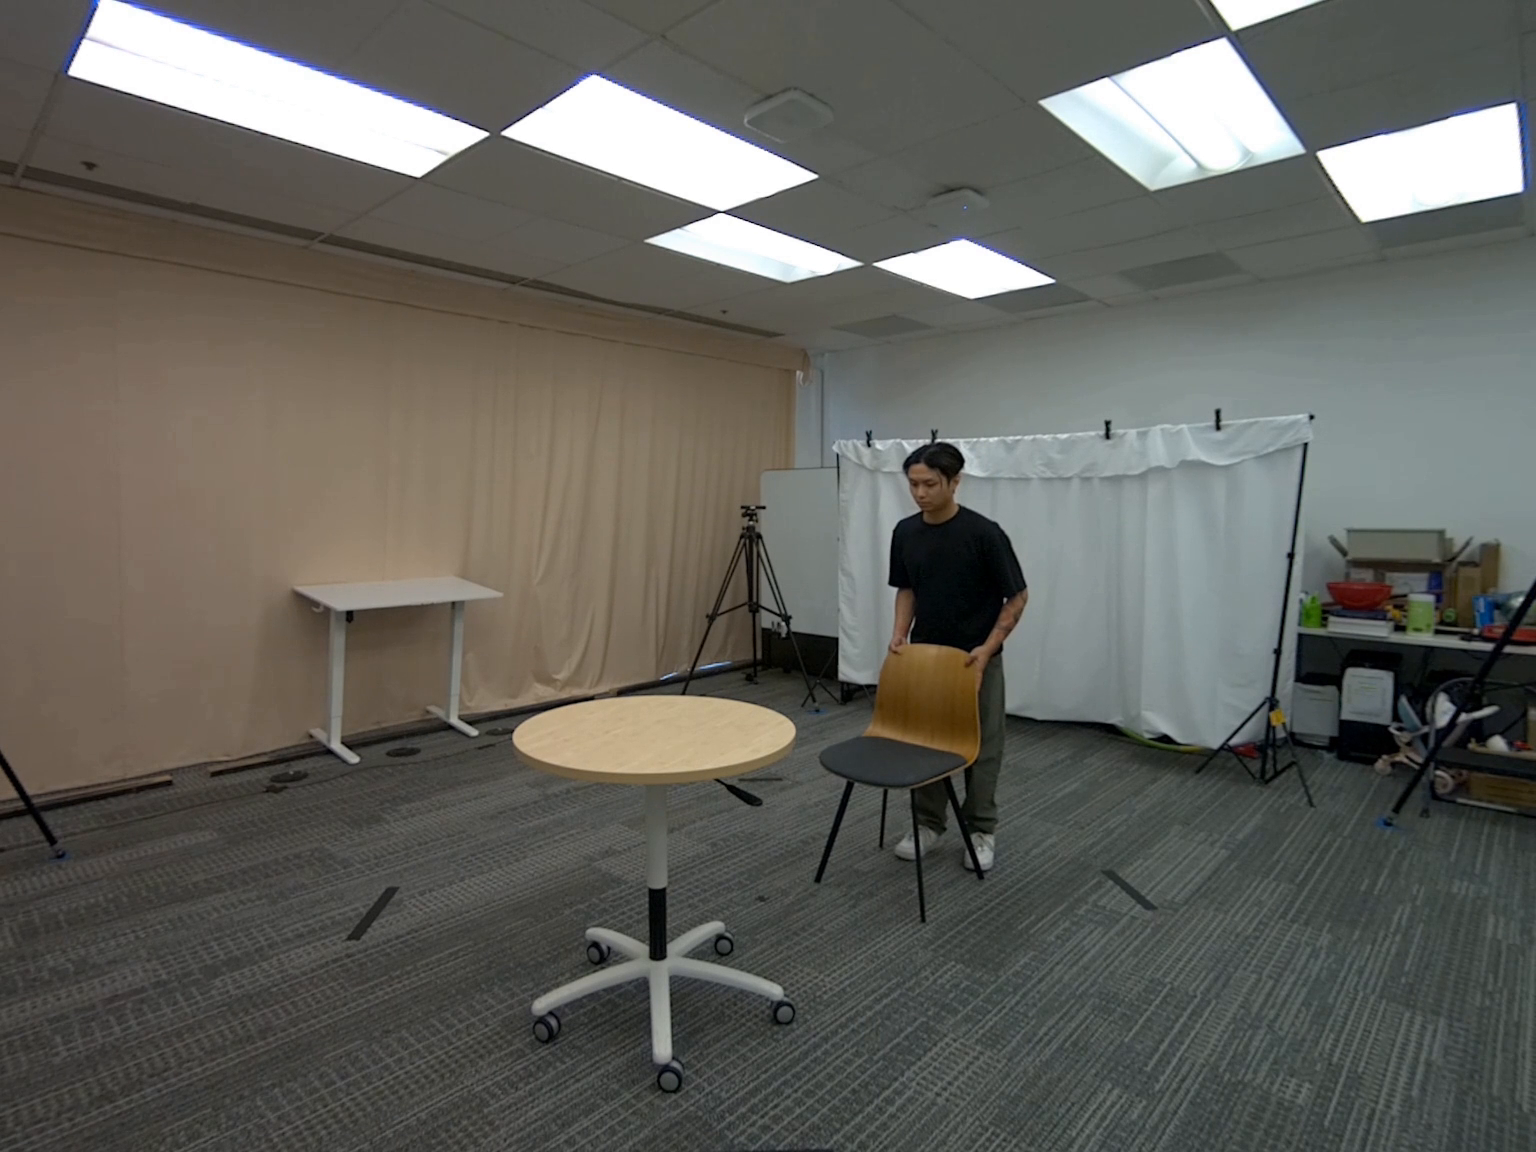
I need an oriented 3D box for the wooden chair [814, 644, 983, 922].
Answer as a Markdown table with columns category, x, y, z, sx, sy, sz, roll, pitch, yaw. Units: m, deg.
| category | x | y | z | sx | sy | sz | roll | pitch | yaw |
| --- | --- | --- | --- | --- | --- | --- | --- | --- | --- |
| wooden chair | 0.485 | 0.705 | 3.083 | 0.494 | 0.877 | 0.506 | 4 | 1 | 41 |
